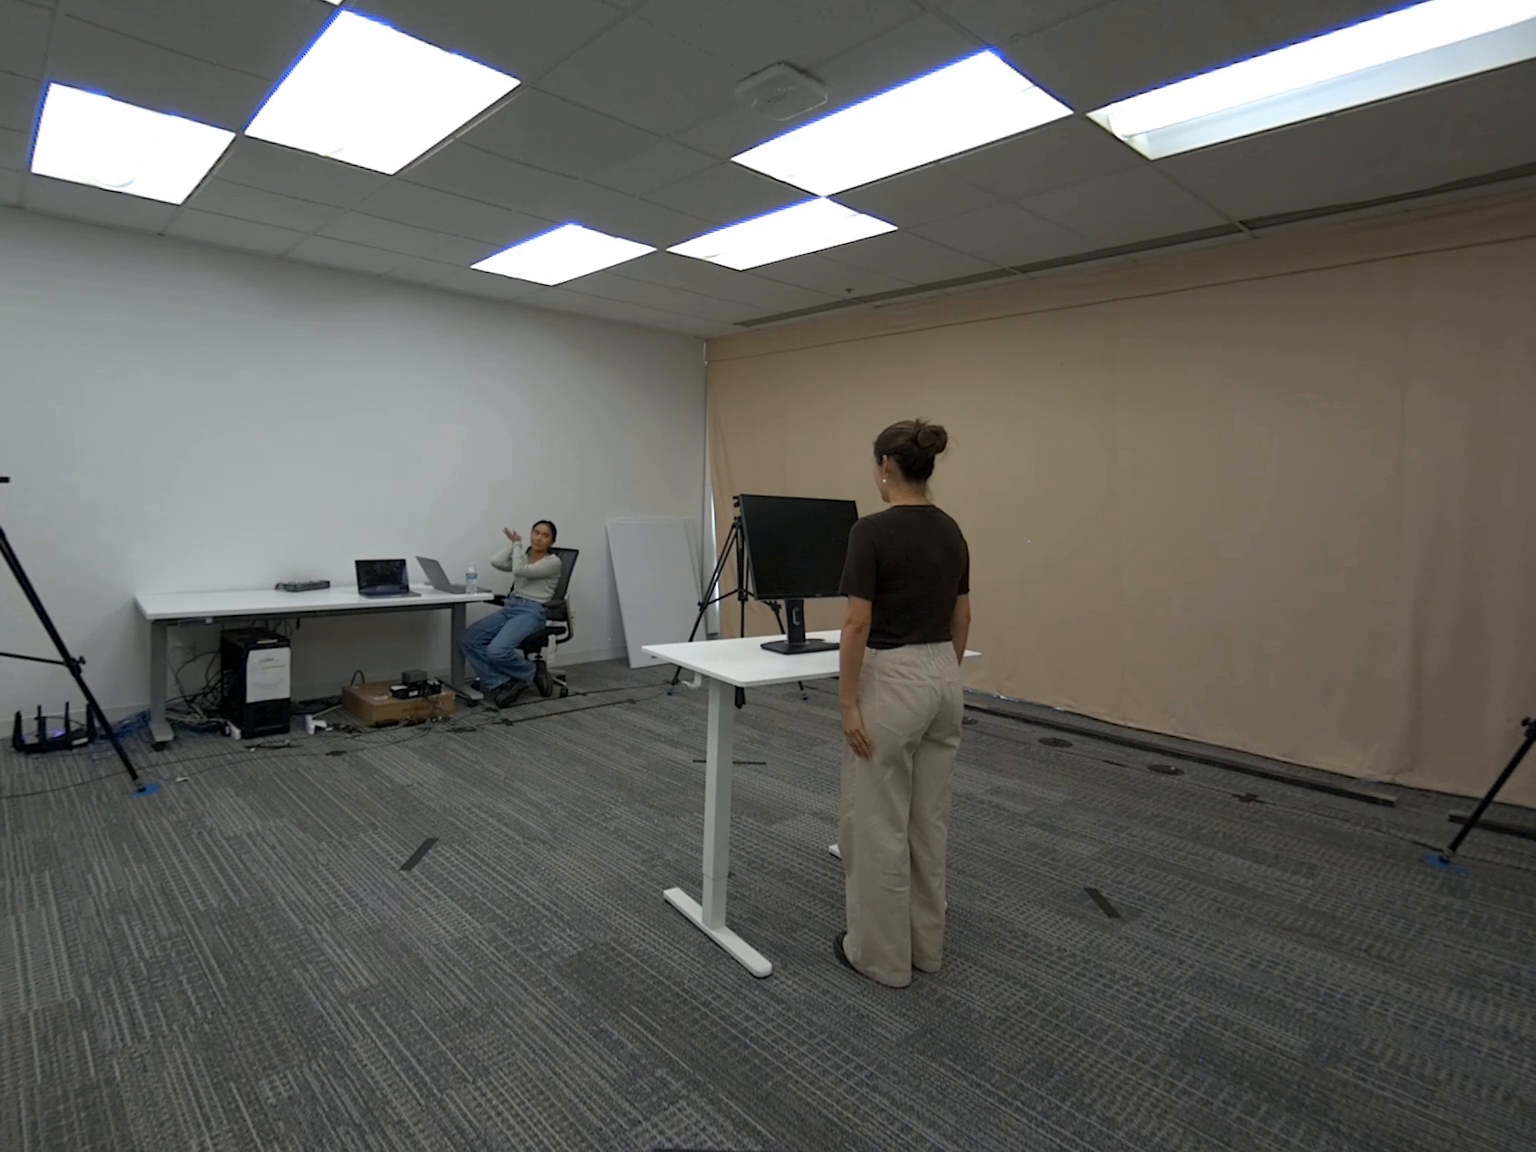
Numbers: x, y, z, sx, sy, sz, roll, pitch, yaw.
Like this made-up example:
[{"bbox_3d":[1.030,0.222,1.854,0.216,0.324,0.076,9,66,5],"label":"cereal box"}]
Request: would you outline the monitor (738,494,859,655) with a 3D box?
[{"bbox_3d":[0.113,-0.006,2.868,0.526,0.523,0.191,0,0,-42],"label":"monitor"}]
